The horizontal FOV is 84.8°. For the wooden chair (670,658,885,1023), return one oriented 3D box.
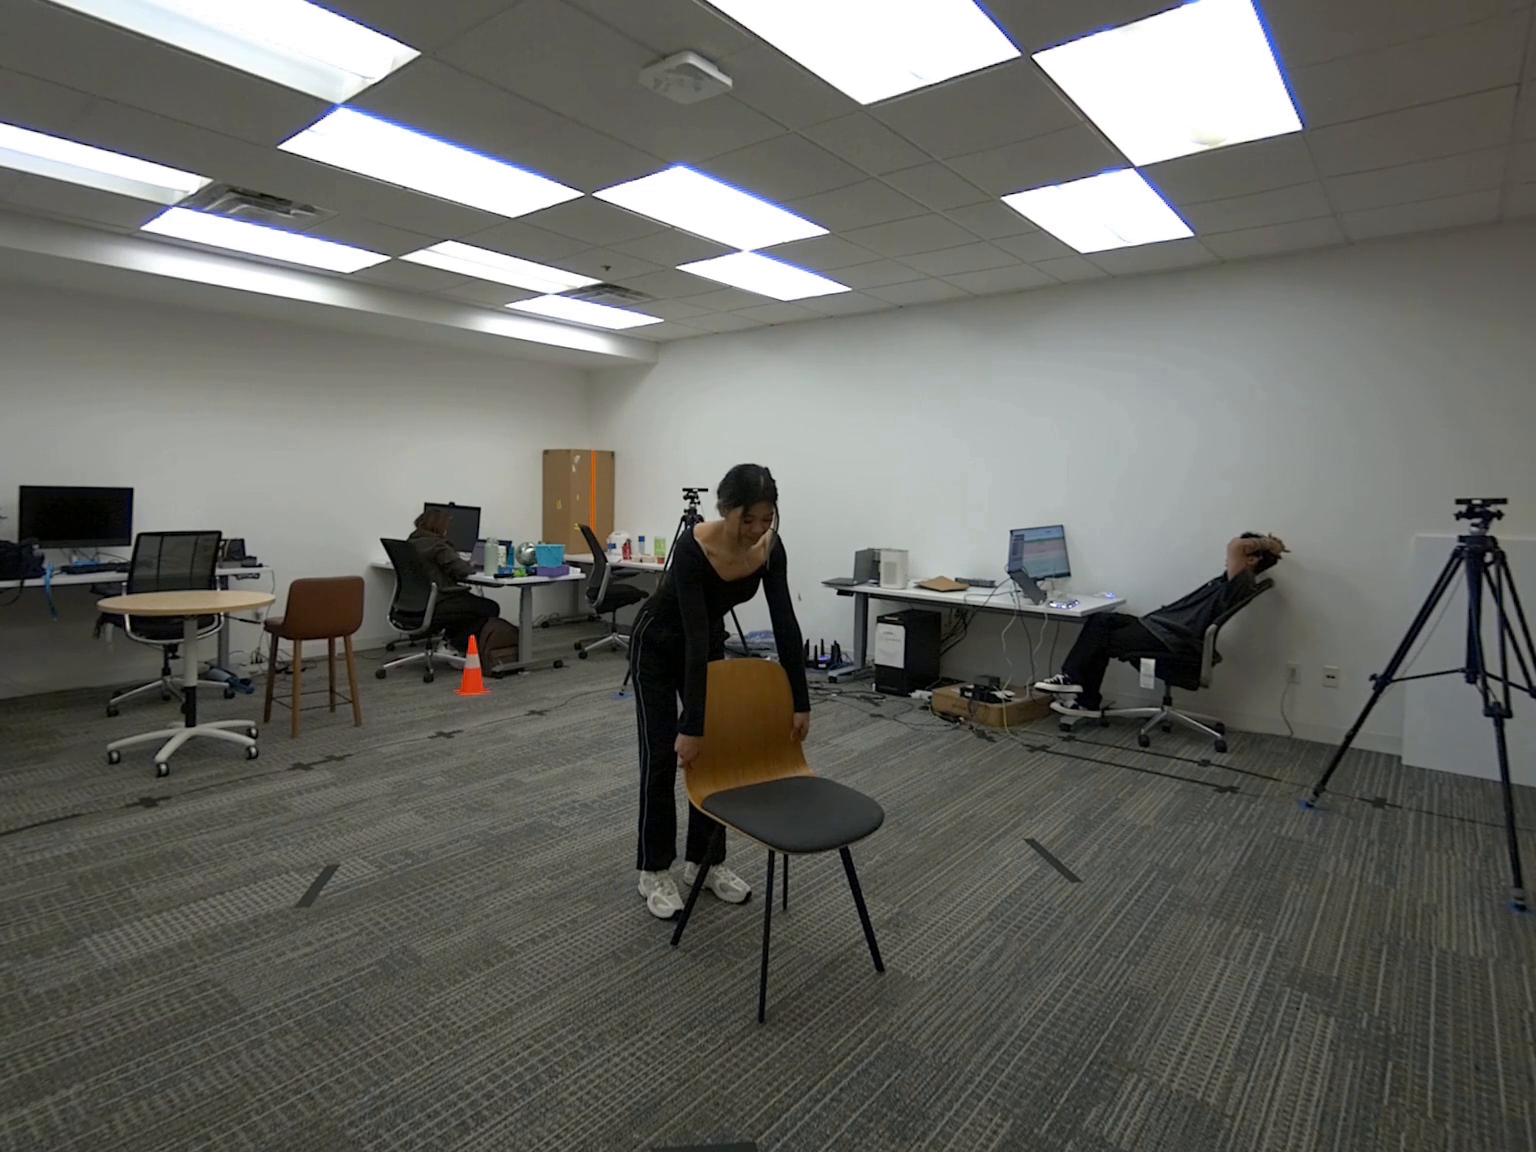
[{"bbox_3d":[0.035,0.708,2.491,0.464,0.878,0.538,-1,0,-36],"label":"wooden chair"}]
